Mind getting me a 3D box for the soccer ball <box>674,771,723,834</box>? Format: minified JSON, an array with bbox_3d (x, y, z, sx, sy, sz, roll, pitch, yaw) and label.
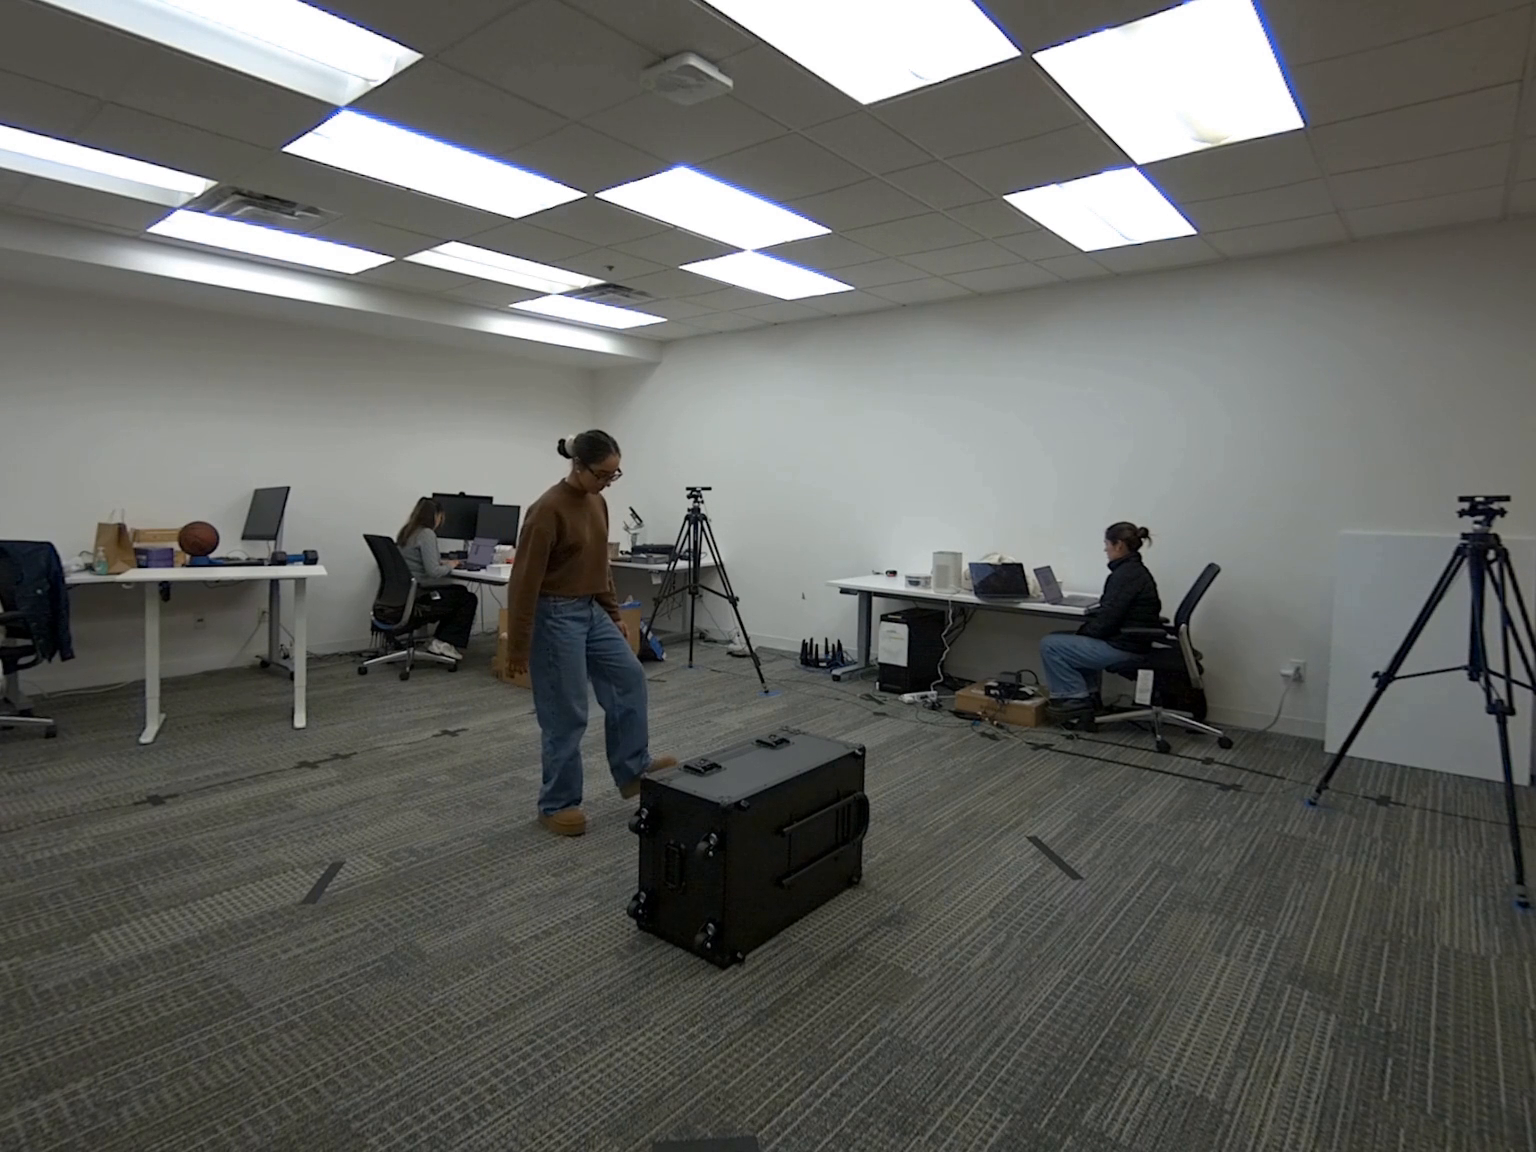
[{"bbox_3d":[-0.287,0.928,3.467,0.187,0.187,0.188,1,4,-2],"label":"soccer ball"}]
